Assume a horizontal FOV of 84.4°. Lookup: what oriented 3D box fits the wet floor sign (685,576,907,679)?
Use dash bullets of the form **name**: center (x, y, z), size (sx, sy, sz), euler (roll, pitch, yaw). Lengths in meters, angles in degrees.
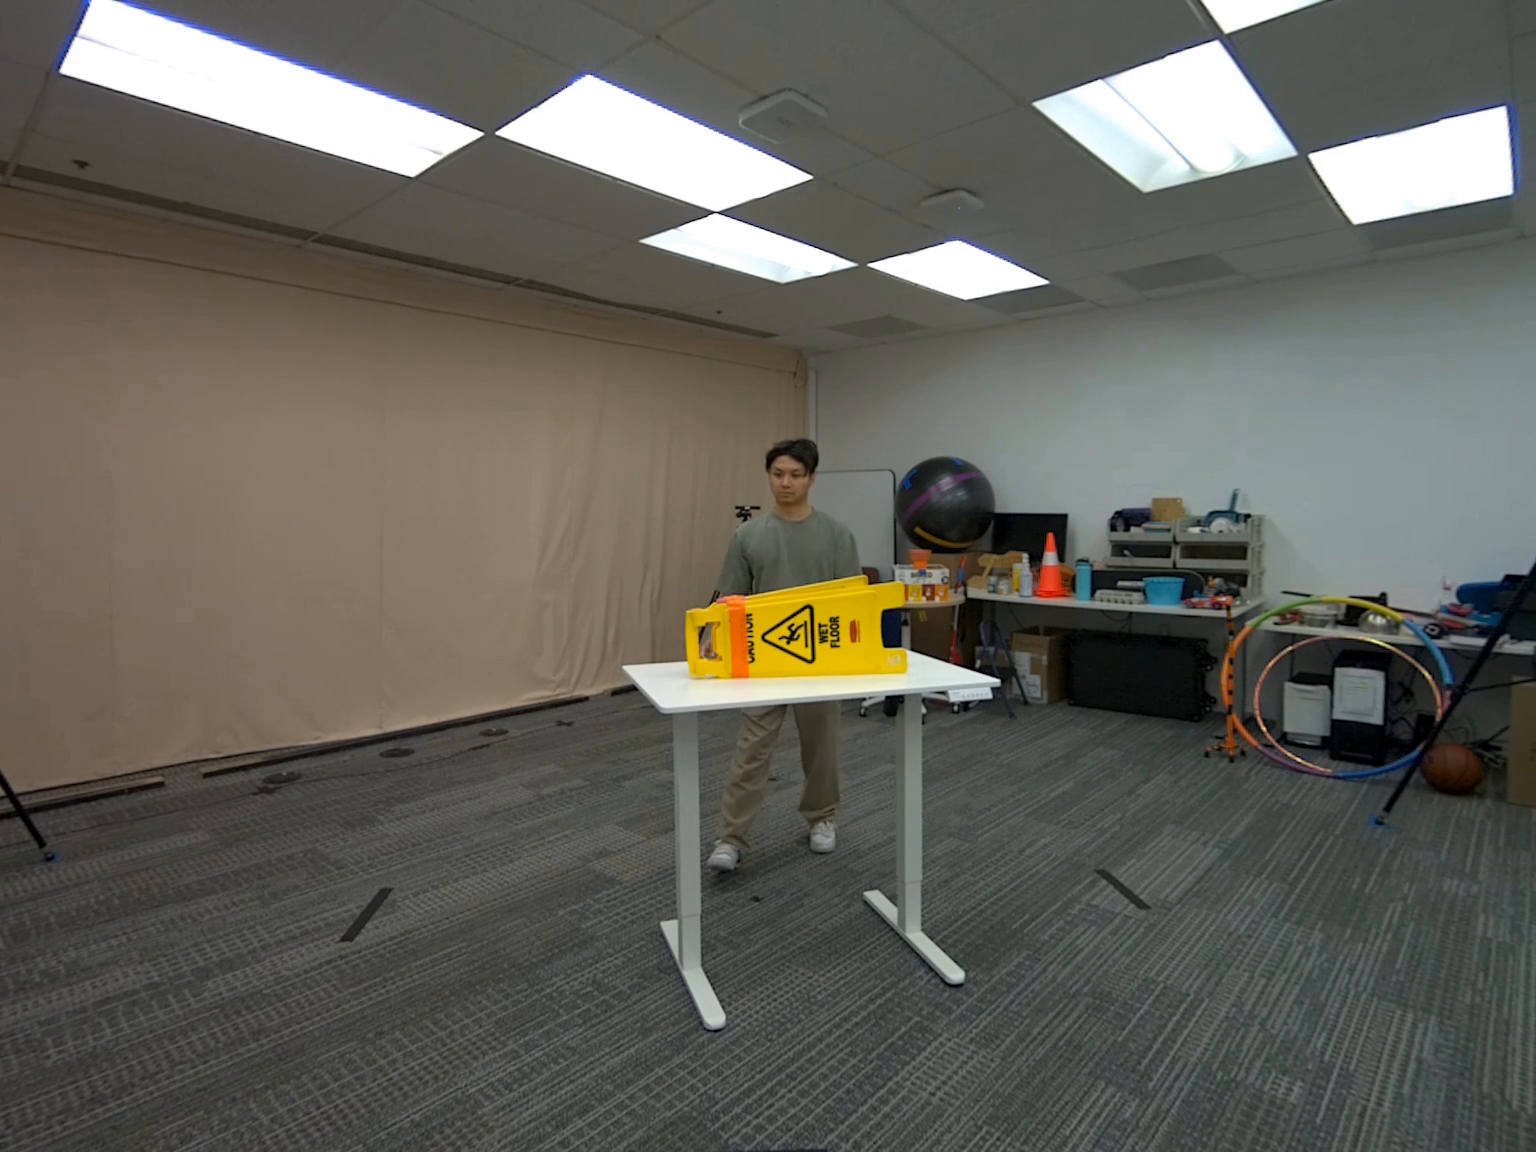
- **wet floor sign**: center (0.068, 0.176, 2.566), size (0.635, 0.281, 0.295), euler (-5, 5, -17)
